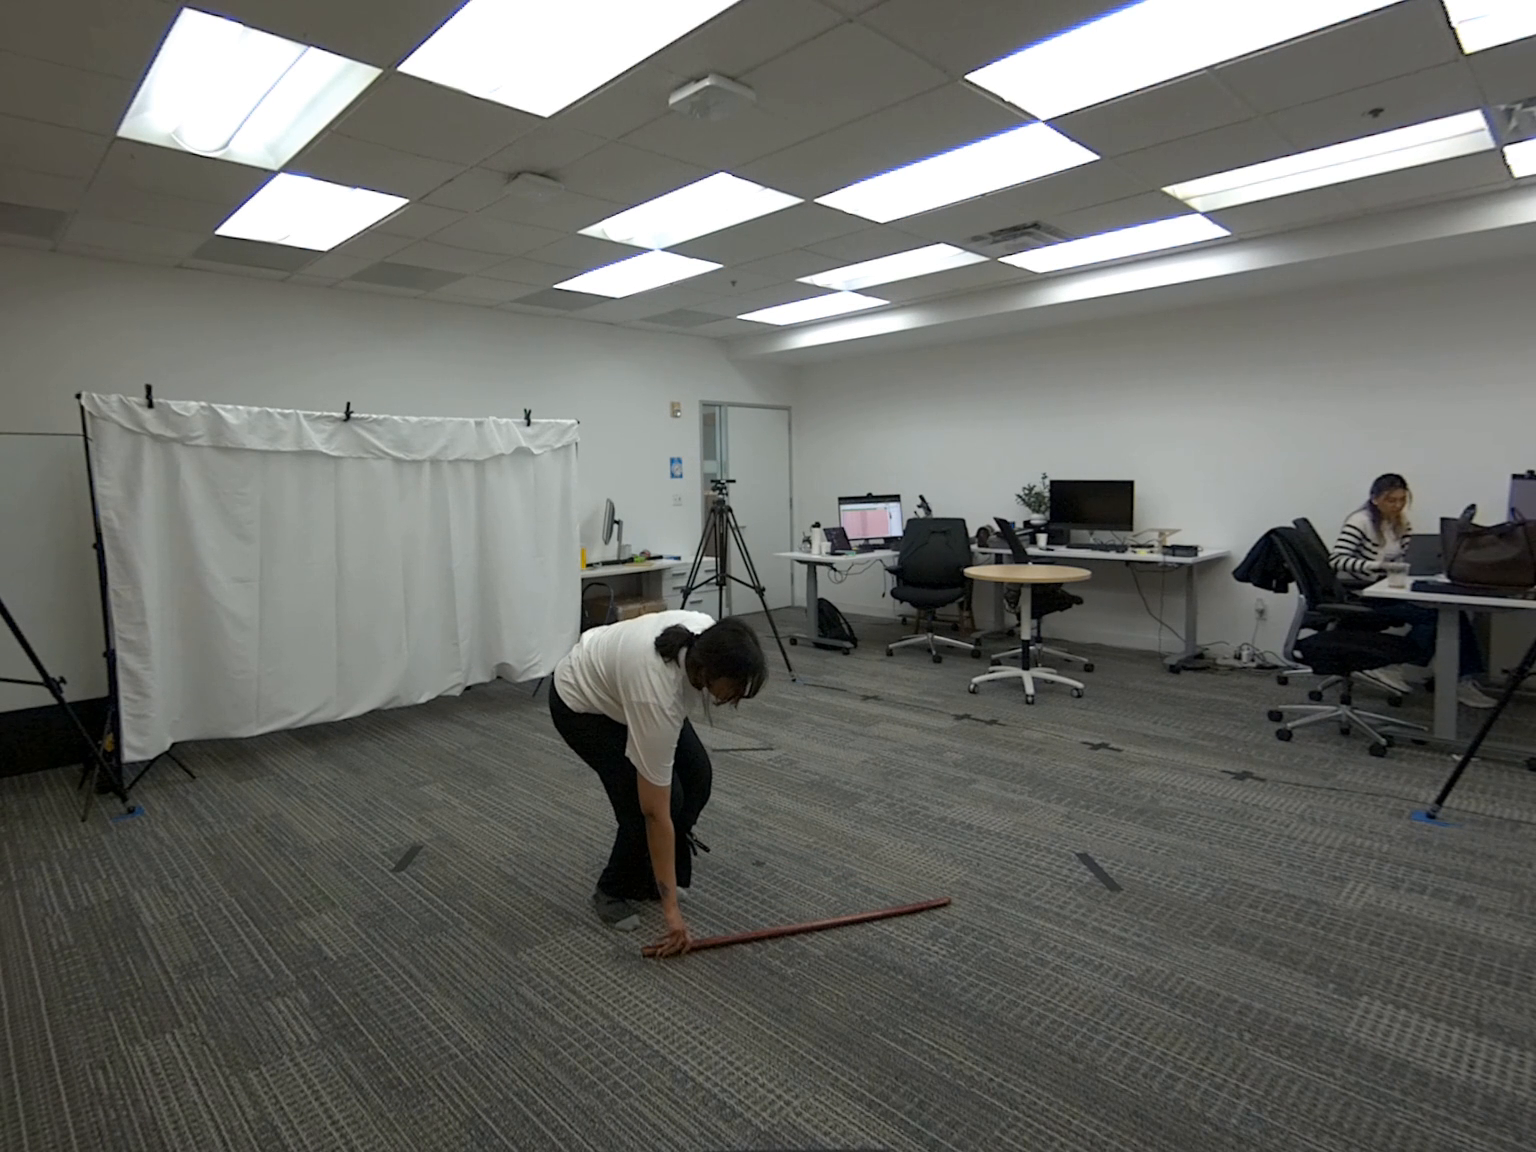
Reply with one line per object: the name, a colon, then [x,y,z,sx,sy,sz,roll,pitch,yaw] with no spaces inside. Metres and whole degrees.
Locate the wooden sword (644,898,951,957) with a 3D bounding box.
wooden sword: [0.126,1.067,2.644,1.009,0.051,0.025,-3,15,-17]
